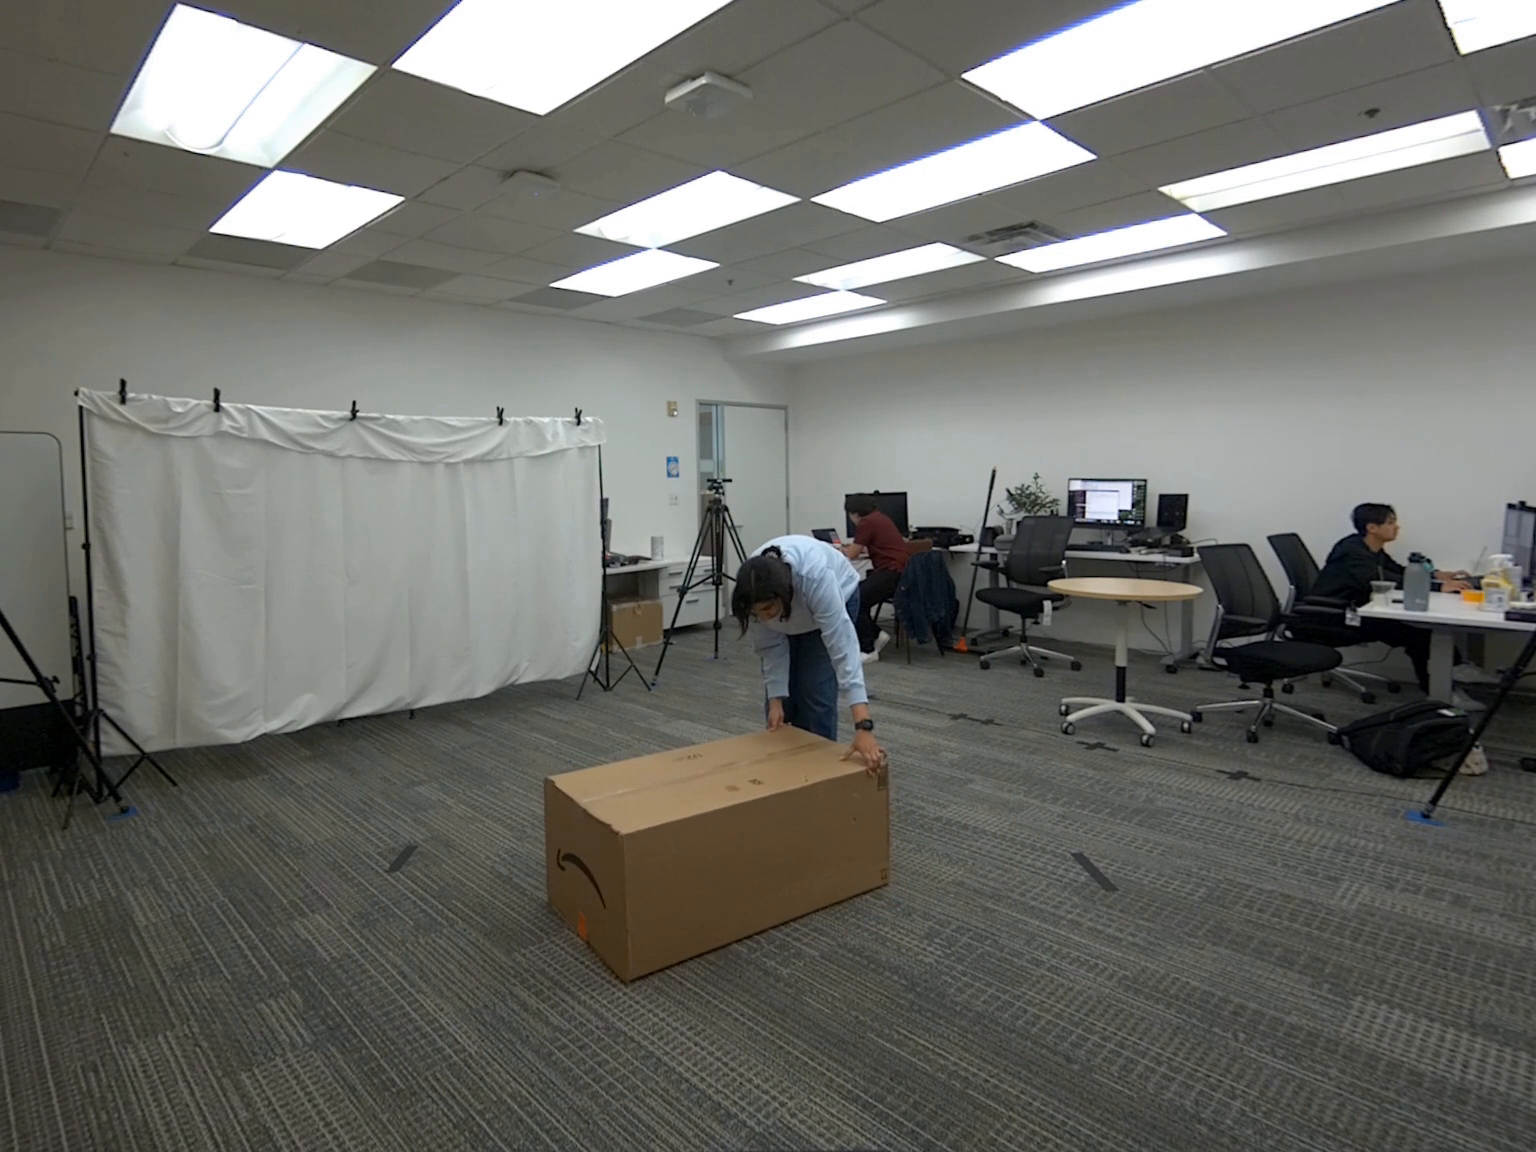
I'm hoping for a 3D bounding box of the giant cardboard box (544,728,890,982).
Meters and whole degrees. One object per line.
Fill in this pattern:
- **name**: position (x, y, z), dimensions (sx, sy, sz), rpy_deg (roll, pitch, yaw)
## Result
- **giant cardboard box**: position (-0.163, 0.861, 2.871), dimensions (1.000, 0.424, 0.594), rpy_deg (-5, 6, -34)
